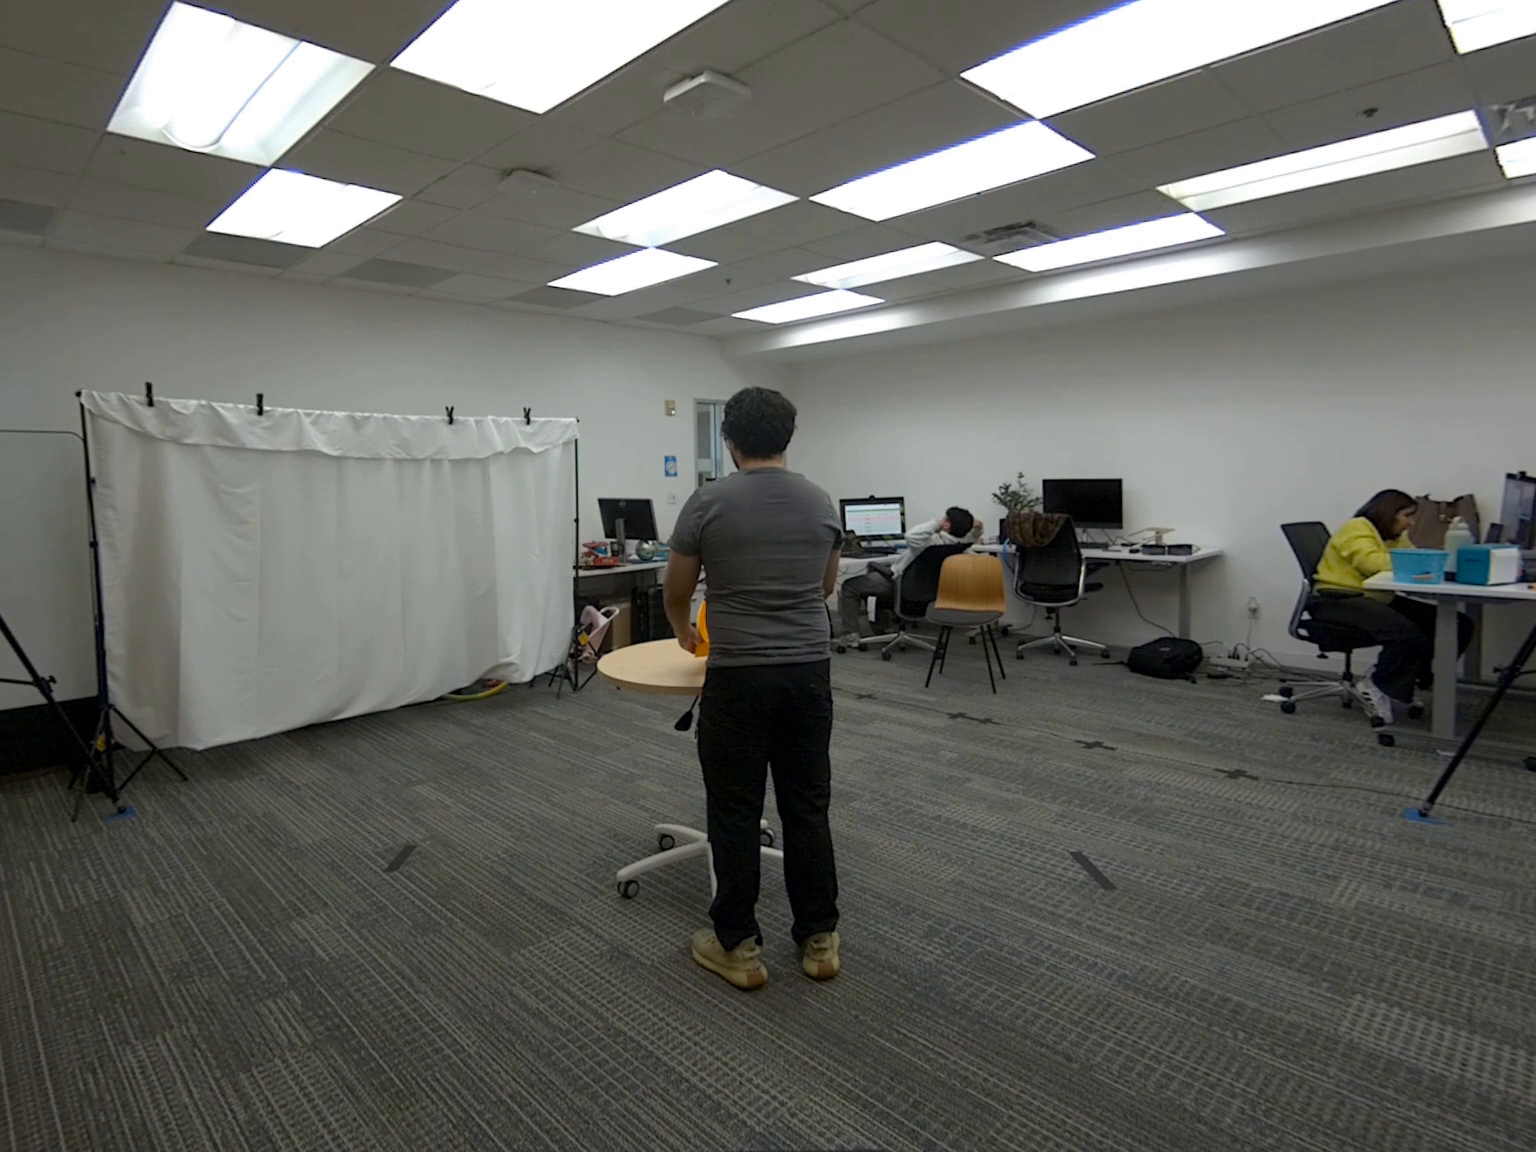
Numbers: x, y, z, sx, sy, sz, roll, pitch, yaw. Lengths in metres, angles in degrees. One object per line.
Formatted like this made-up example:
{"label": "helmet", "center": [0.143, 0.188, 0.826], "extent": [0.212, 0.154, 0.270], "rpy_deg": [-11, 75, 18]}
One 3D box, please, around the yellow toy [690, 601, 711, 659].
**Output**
{"label": "yellow toy", "center": [-0.164, 0.174, 2.818], "extent": [0.201, 0.195, 0.232], "rpy_deg": [-4, -11, -22]}
